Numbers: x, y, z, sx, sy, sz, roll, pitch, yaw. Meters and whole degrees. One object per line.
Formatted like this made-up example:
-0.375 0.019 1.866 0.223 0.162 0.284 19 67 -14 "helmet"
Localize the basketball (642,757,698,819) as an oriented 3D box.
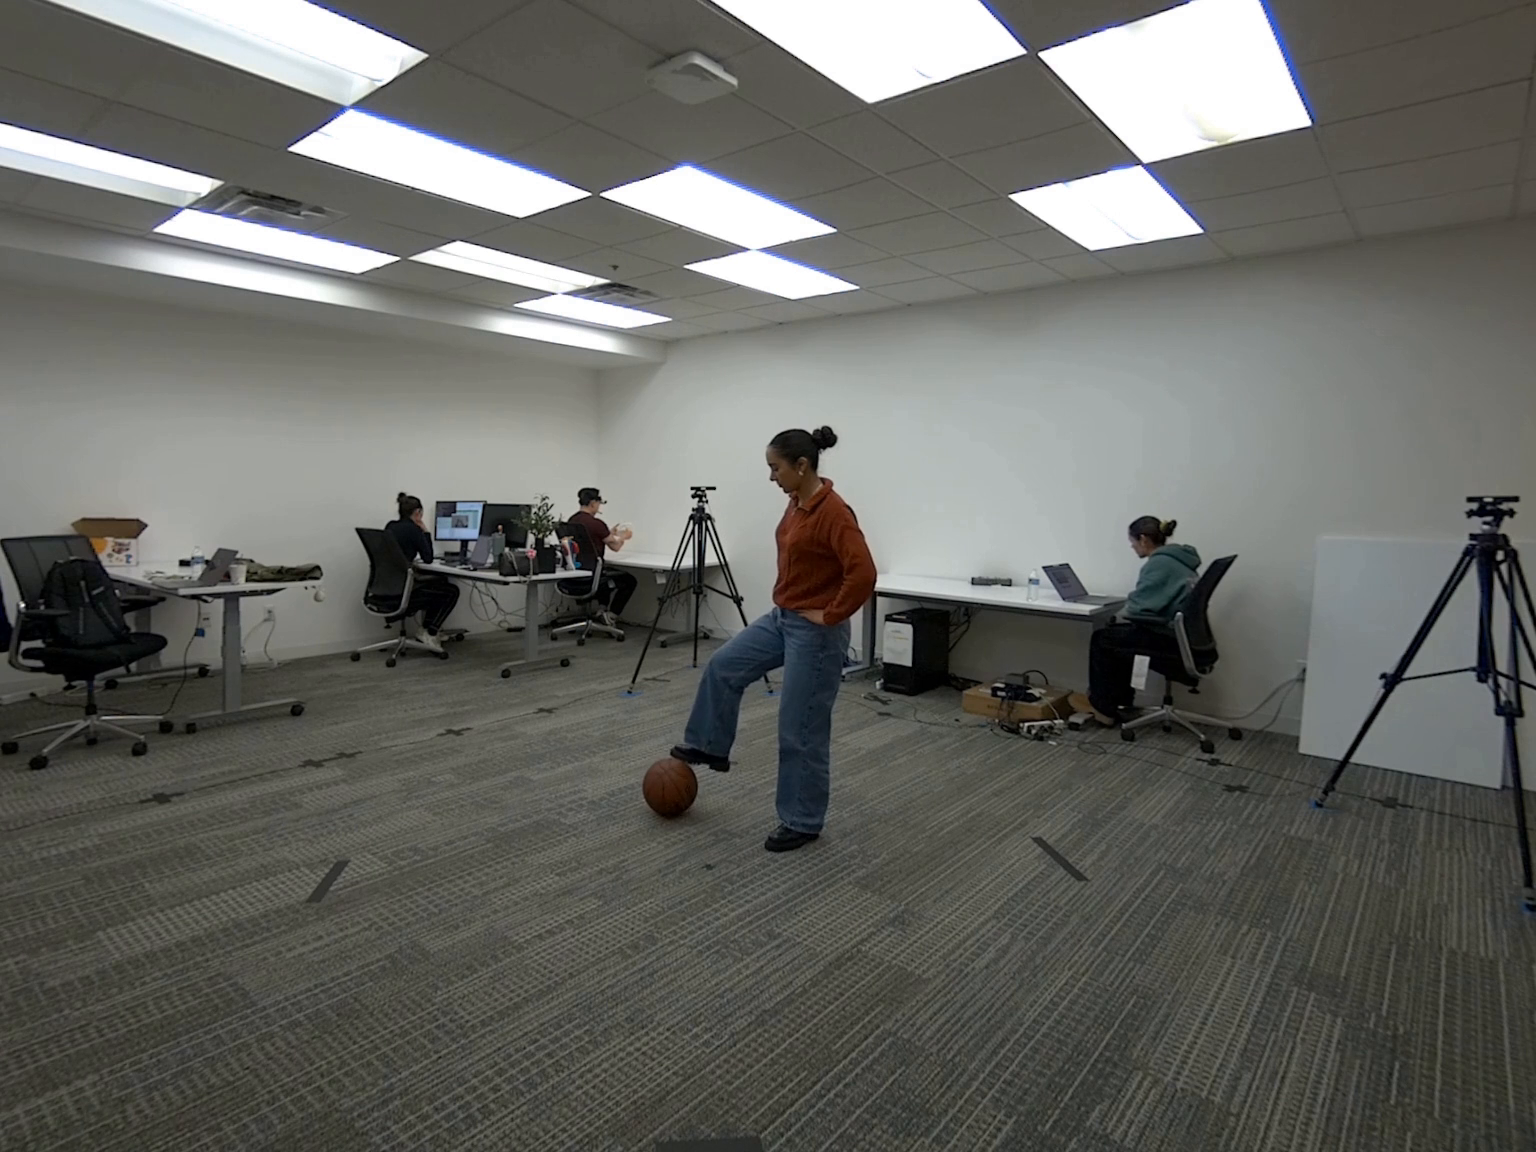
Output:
-0.430 0.892 3.611 0.235 0.235 0.237 1 4 -2 "basketball"
